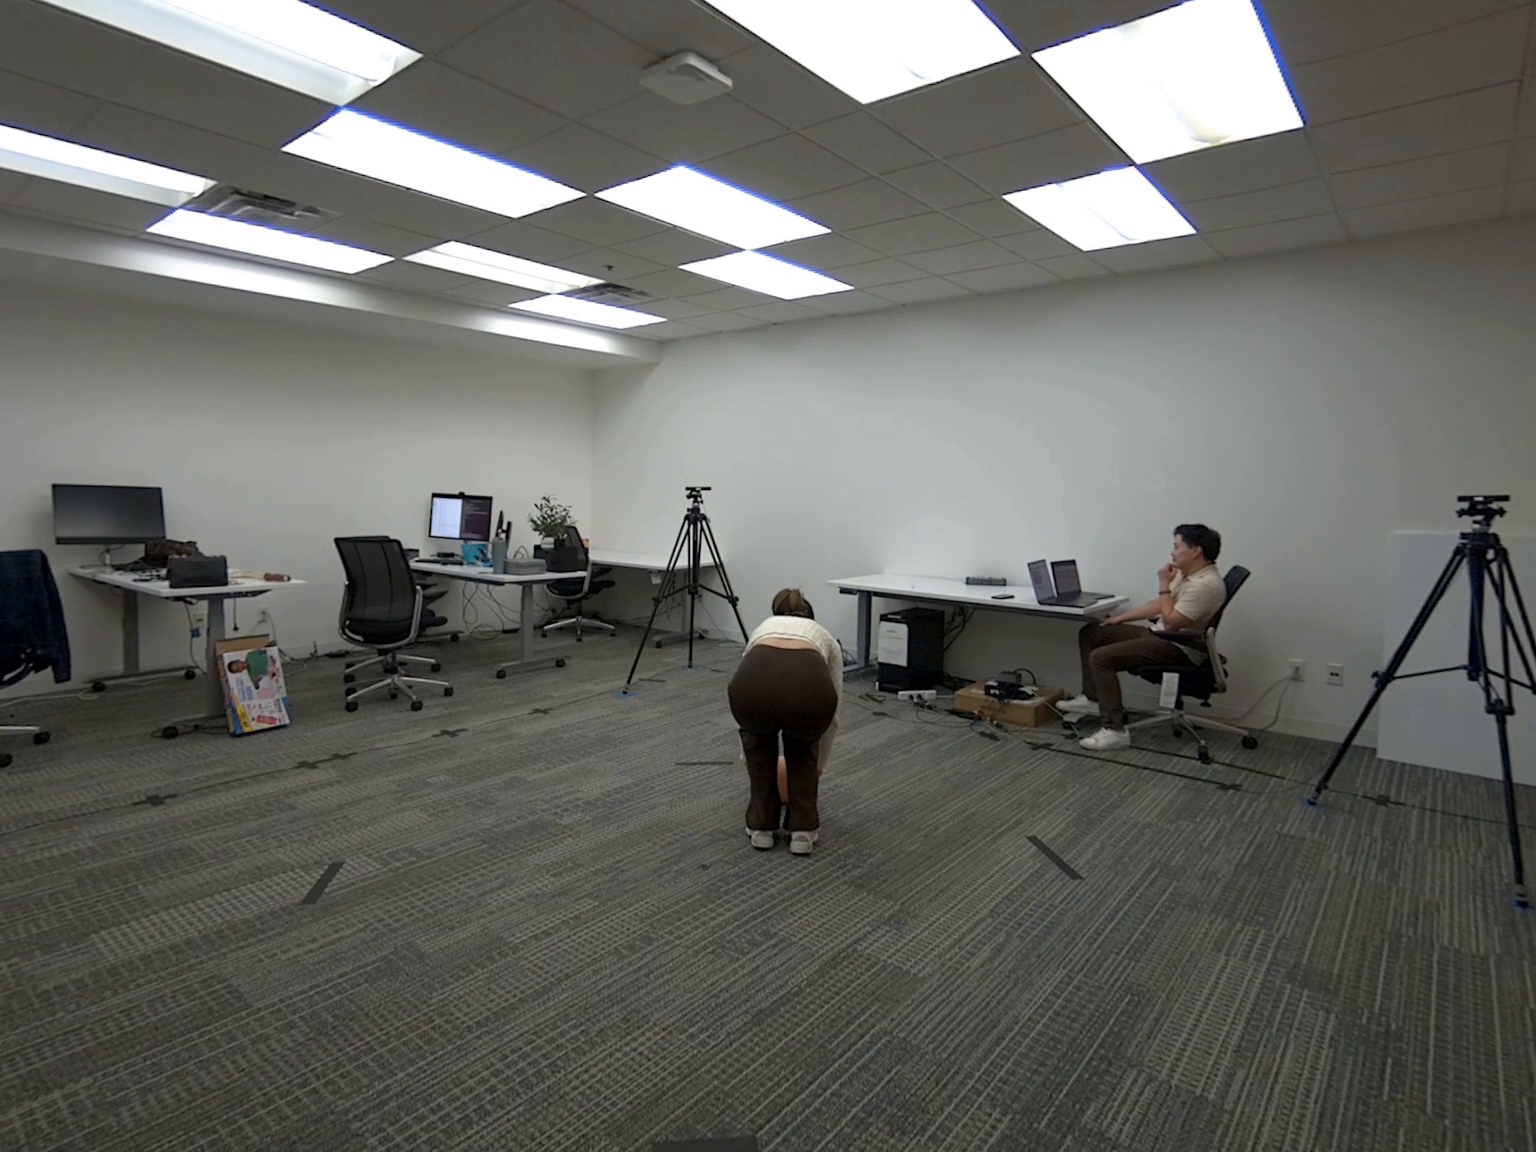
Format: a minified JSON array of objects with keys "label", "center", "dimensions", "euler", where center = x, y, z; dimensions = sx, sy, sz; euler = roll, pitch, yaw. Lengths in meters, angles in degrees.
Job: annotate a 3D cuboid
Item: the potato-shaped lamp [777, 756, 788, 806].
[{"label":"potato-shaped lamp","center":[0.058,0.894,3.799],"dimensions":[0.169,0.198,0.167],"euler":[3,3,28]}]
